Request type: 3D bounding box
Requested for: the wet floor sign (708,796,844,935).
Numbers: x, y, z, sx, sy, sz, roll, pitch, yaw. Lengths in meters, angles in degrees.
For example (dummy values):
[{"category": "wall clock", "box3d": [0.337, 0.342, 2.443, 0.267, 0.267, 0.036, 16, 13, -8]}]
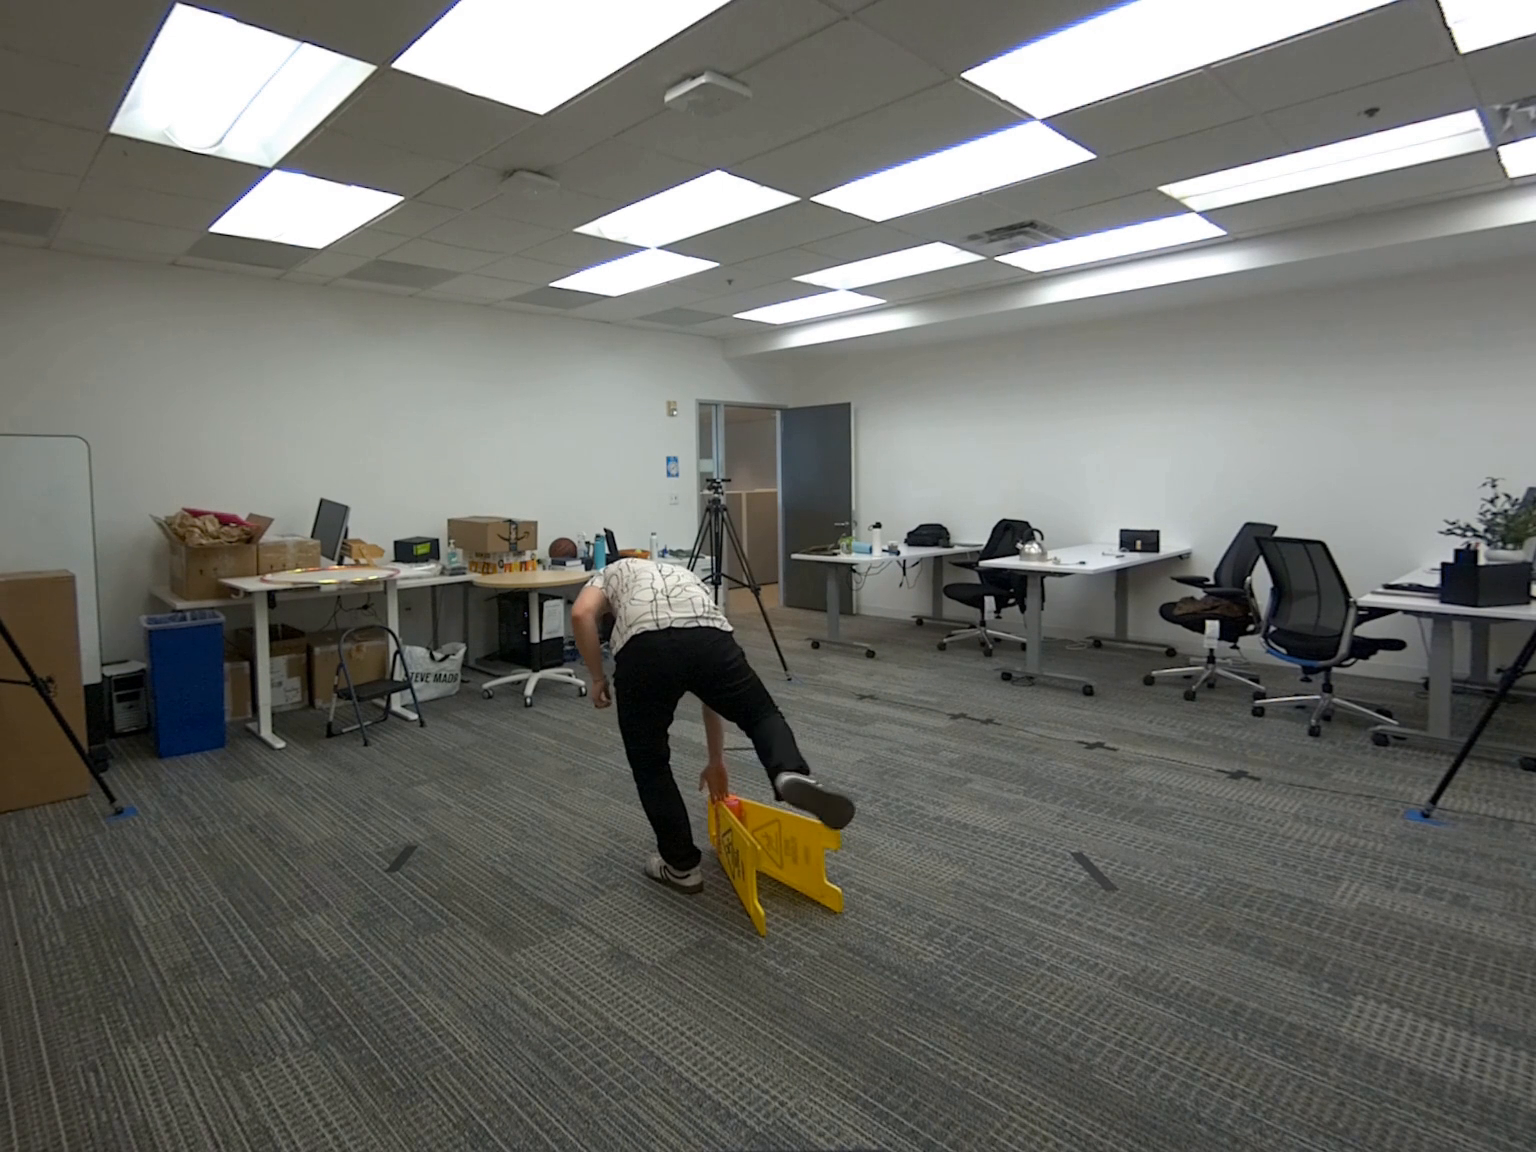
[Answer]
[{"category": "wet floor sign", "box3d": [-0.054, 0.932, 2.948, 0.283, 0.281, 0.663, -5, 5, -29]}]
